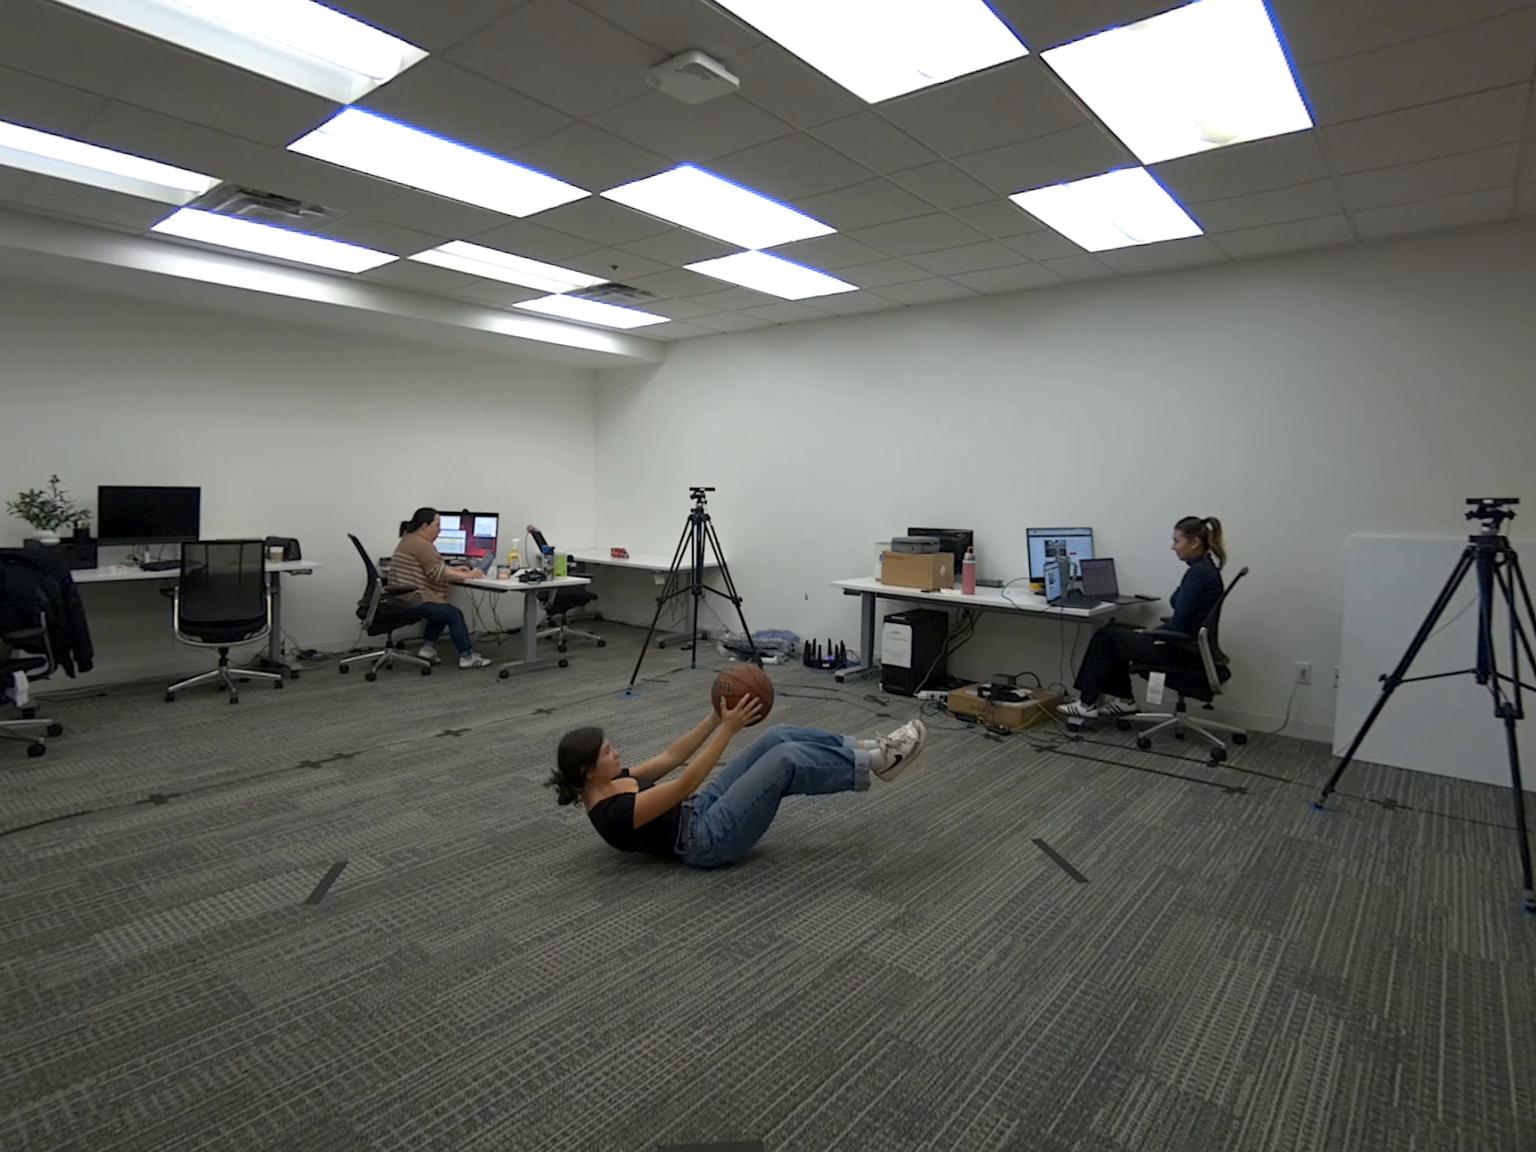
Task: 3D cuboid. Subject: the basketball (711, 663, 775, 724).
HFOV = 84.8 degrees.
[{"bbox_3d":[-0.118,0.444,3.220,0.235,0.235,0.237,1,4,-2],"label":"basketball"}]
